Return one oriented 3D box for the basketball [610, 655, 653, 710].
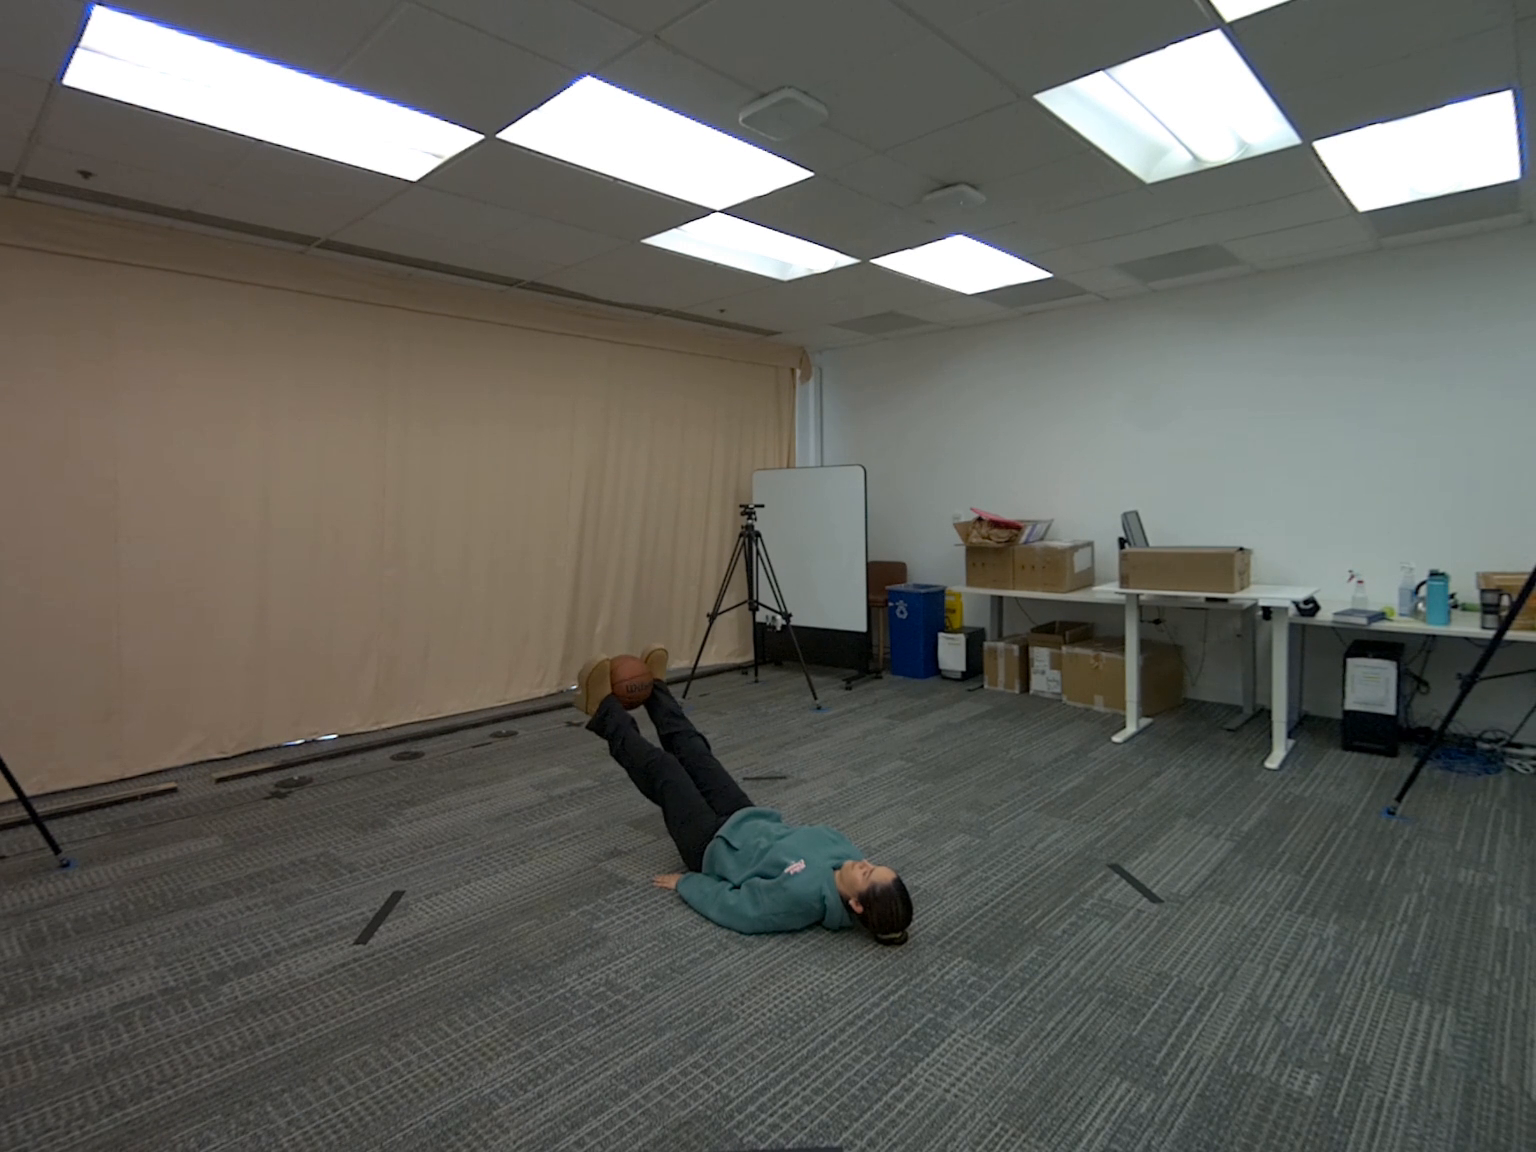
[{"bbox_3d":[-0.607,0.459,3.592,0.236,0.235,0.237,0,4,-2],"label":"basketball"}]
